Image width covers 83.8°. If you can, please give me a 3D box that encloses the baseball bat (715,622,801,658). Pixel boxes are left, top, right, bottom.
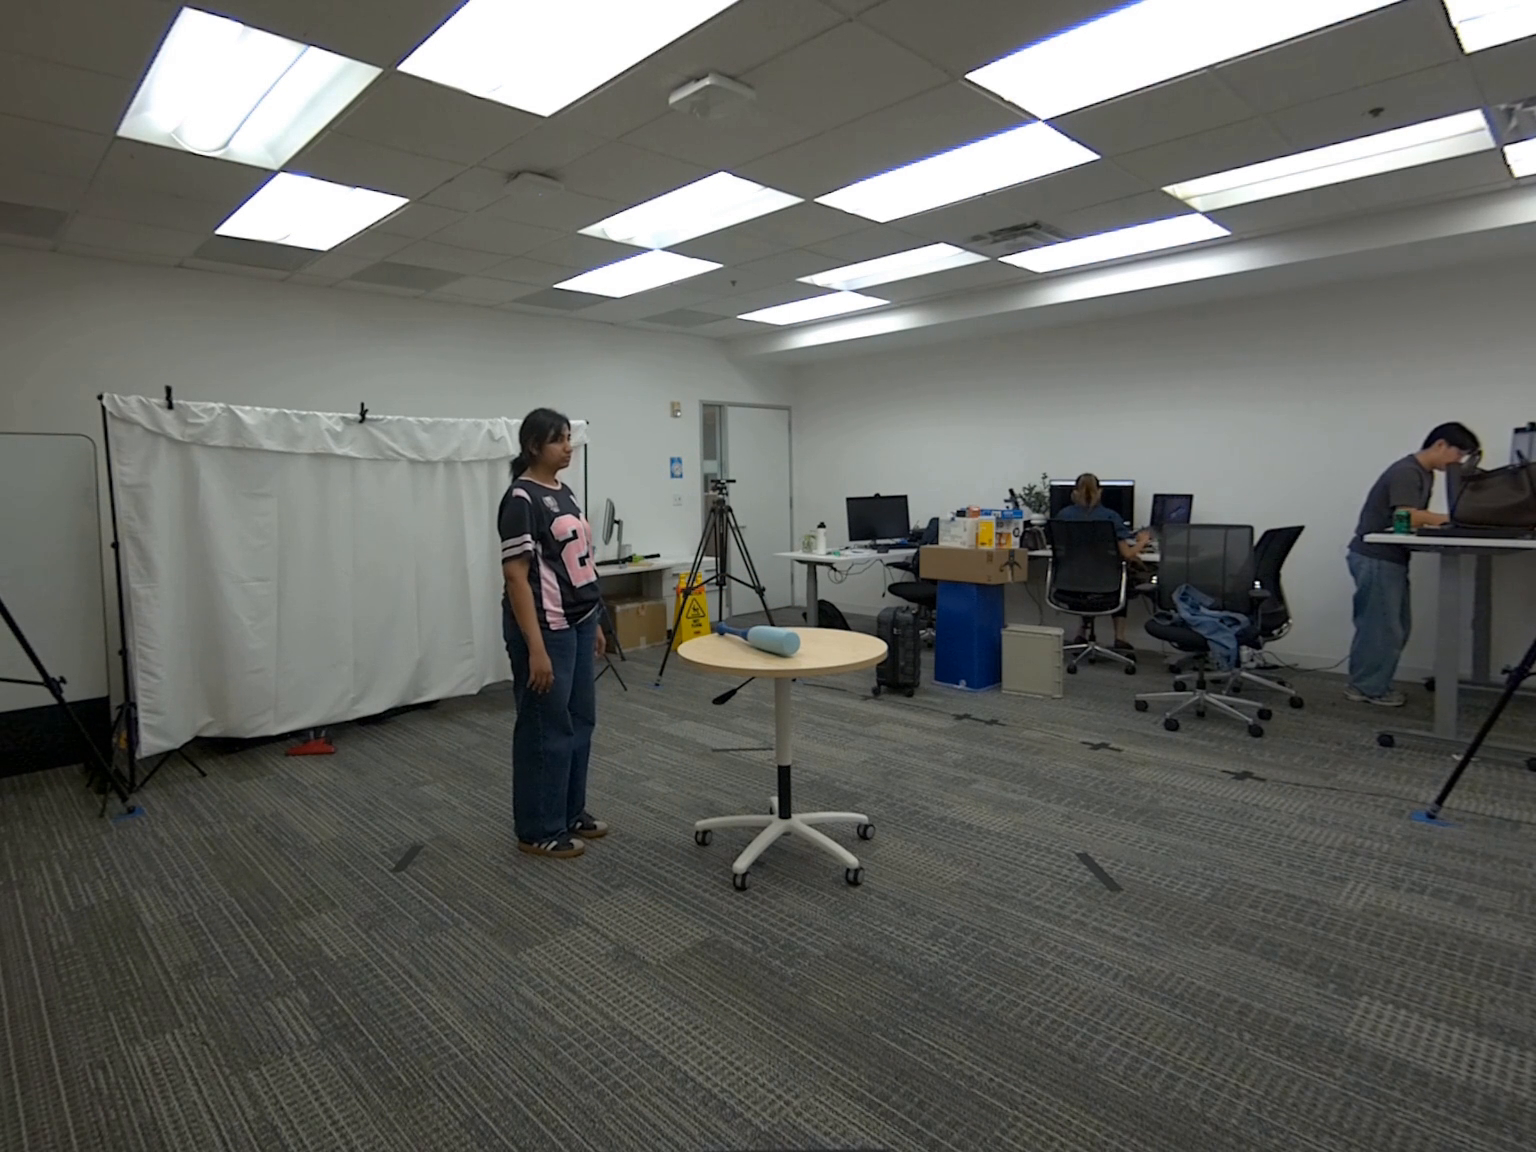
[{"bbox_3d":[-0.061,0.222,3.158,0.087,0.089,0.557,-4,4,-30],"label":"baseball bat"}]
